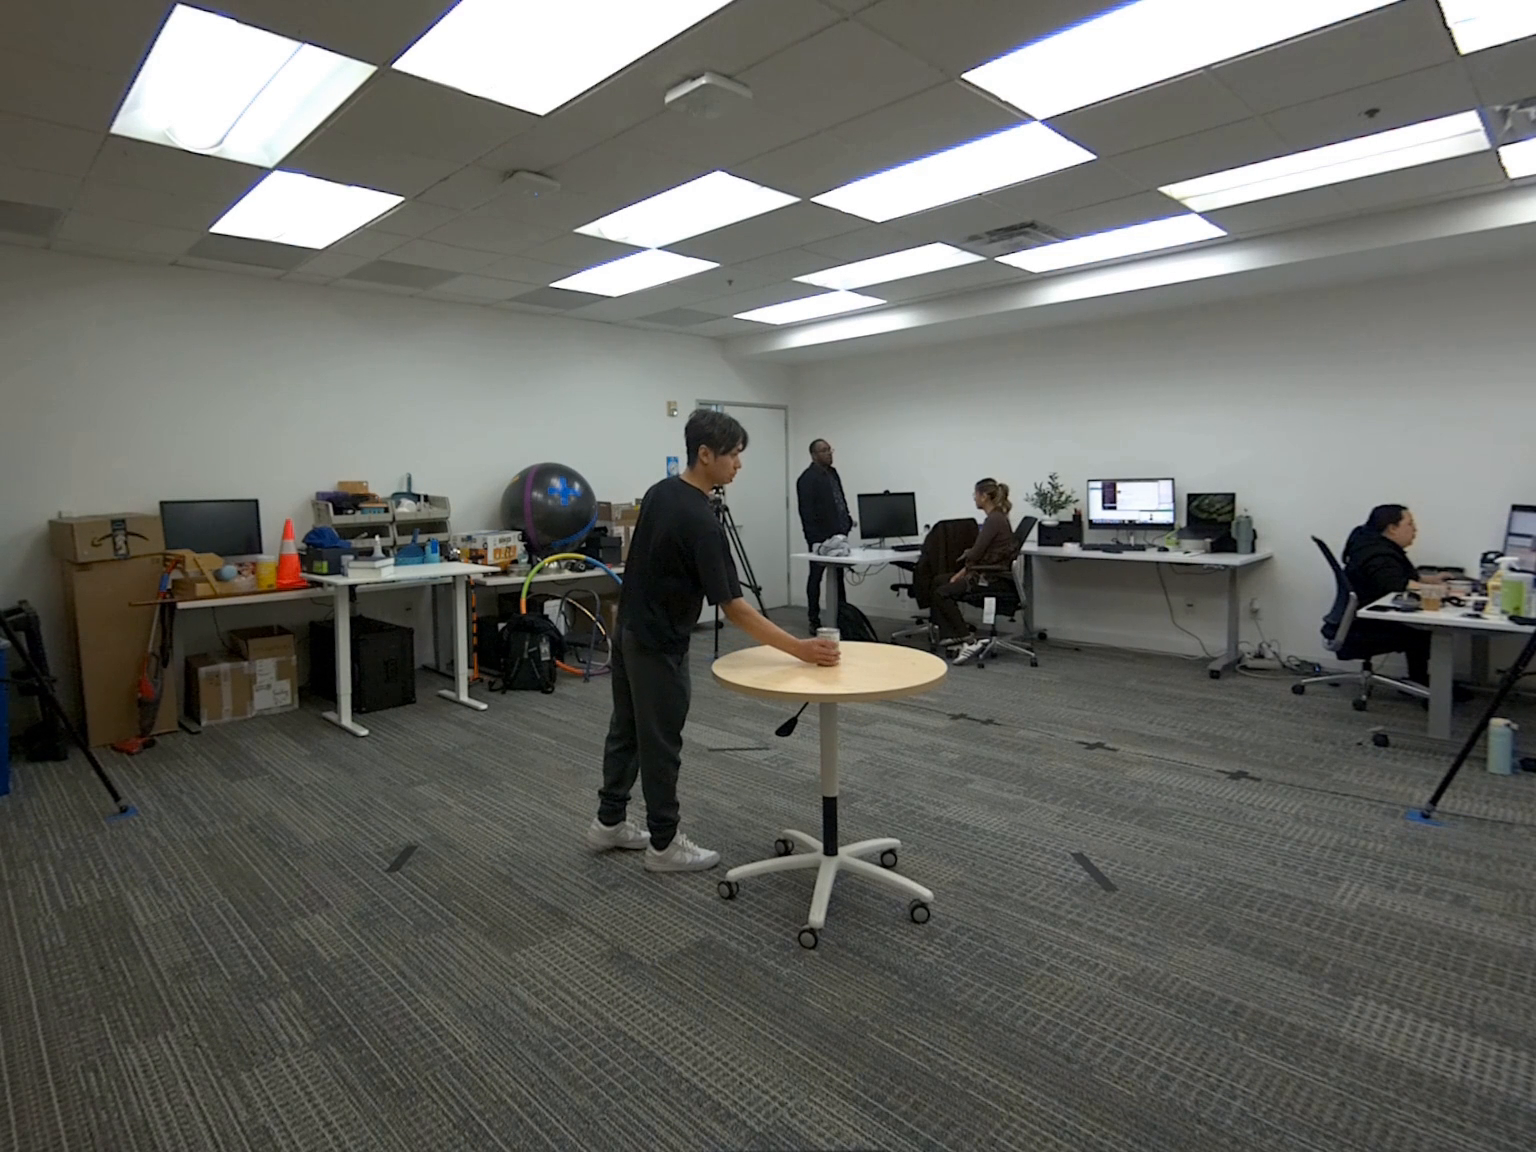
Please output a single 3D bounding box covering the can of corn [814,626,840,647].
[{"bbox_3d":[0.198,0.226,2.826,0.074,0.111,0.074,0,2,-2],"label":"can of corn"}]
